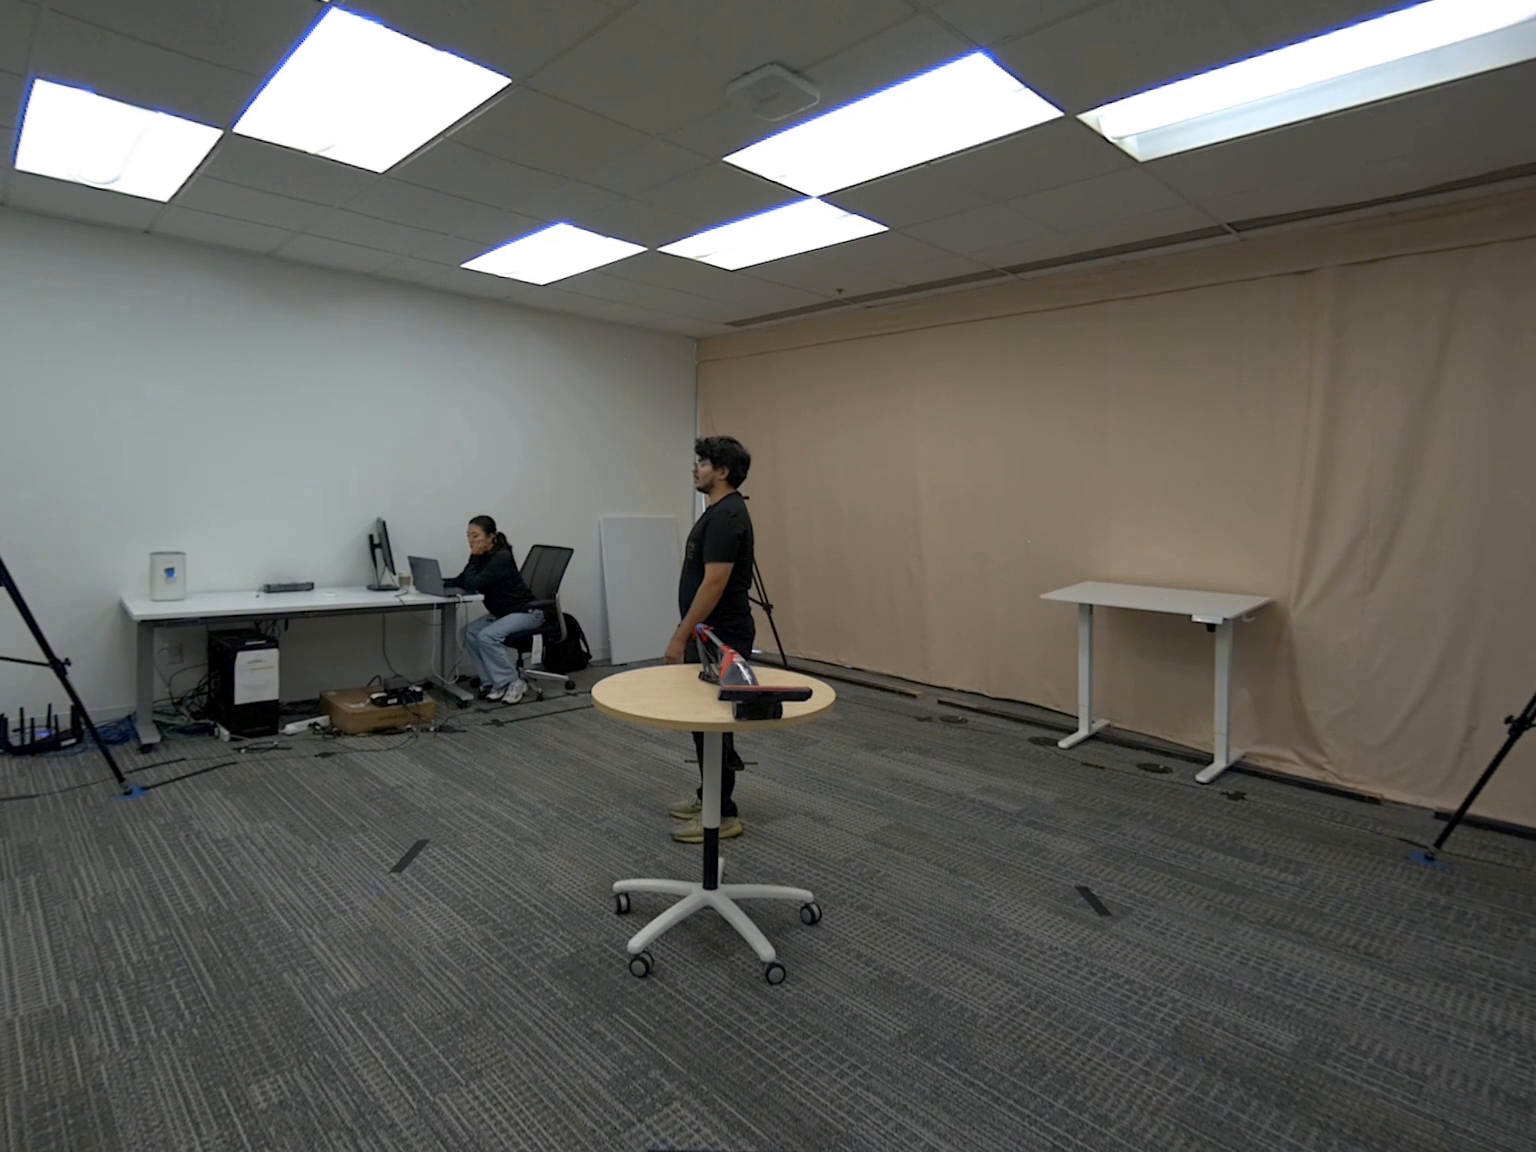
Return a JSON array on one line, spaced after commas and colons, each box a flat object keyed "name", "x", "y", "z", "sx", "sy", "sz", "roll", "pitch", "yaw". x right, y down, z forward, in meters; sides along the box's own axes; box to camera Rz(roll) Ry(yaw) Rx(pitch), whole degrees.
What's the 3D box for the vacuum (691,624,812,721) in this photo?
[{"name": "vacuum", "x": -0.155, "y": 0.299, "z": 2.764, "sx": 0.250, "sy": 0.143, "sz": 1.064, "roll": 0, "pitch": 6, "yaw": -15}]
